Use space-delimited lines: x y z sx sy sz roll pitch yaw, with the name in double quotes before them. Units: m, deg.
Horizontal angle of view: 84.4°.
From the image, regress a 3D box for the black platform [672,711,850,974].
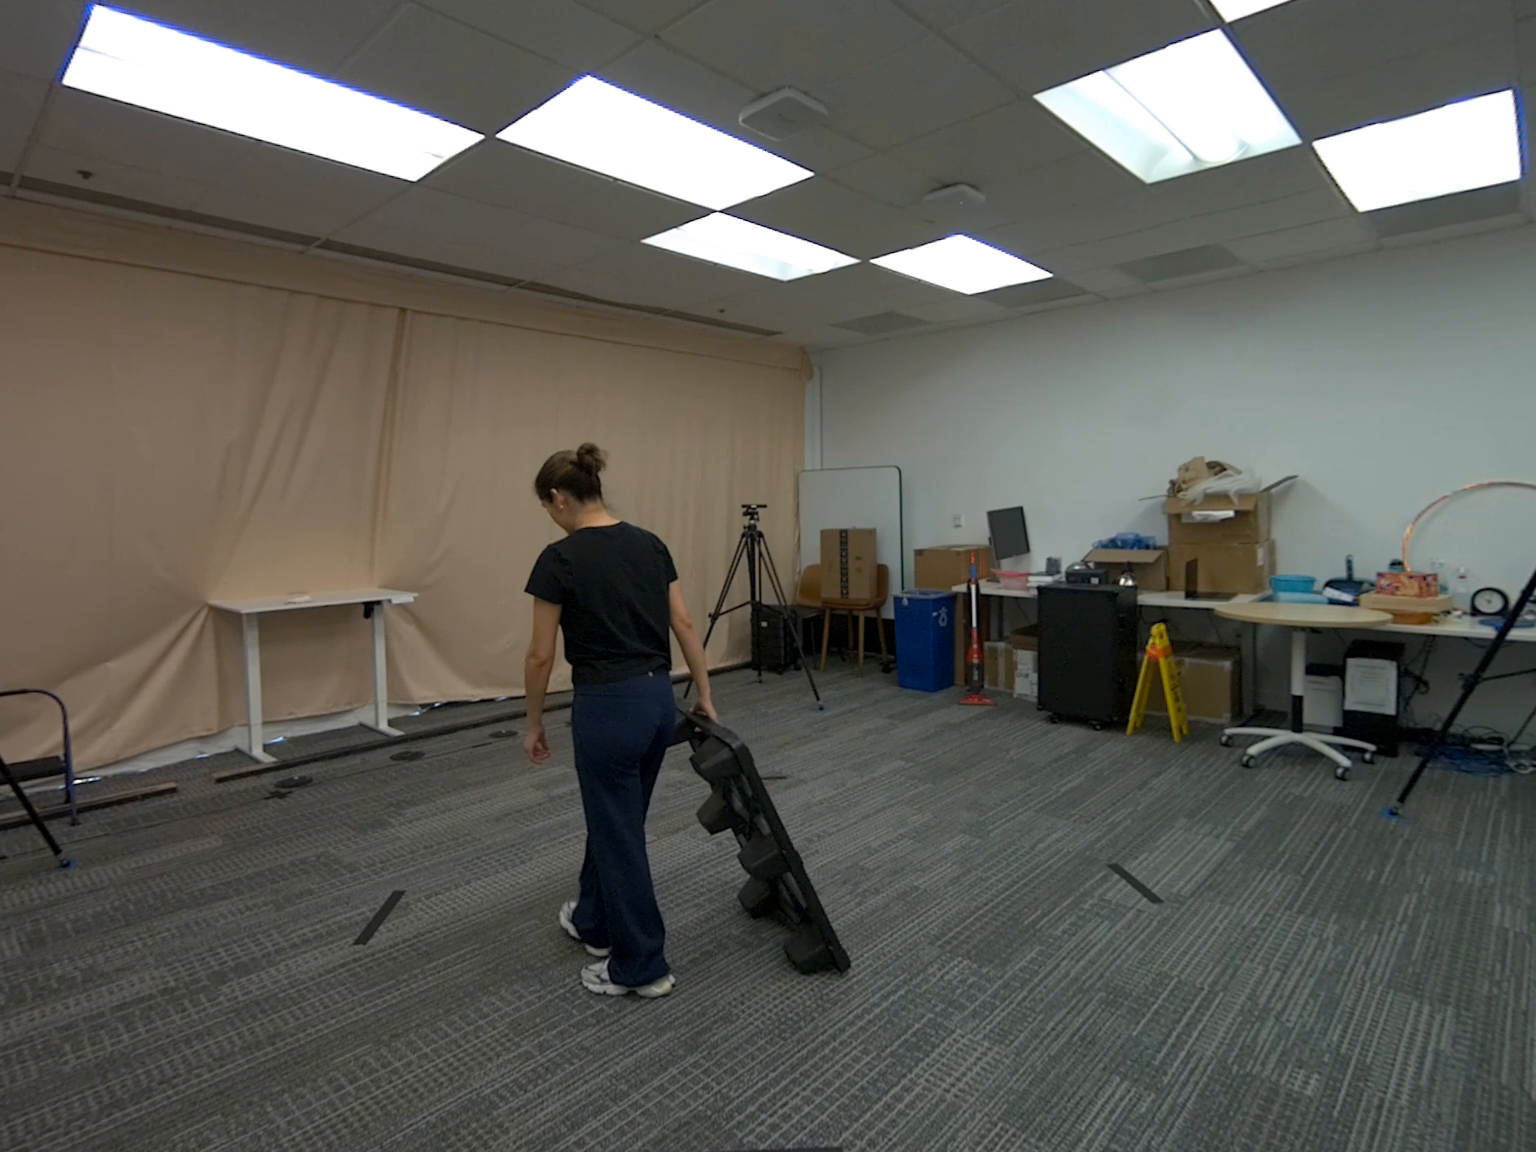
"black platform" -0.067 0.805 2.662 0.141 0.796 0.620 -29 13 -20
